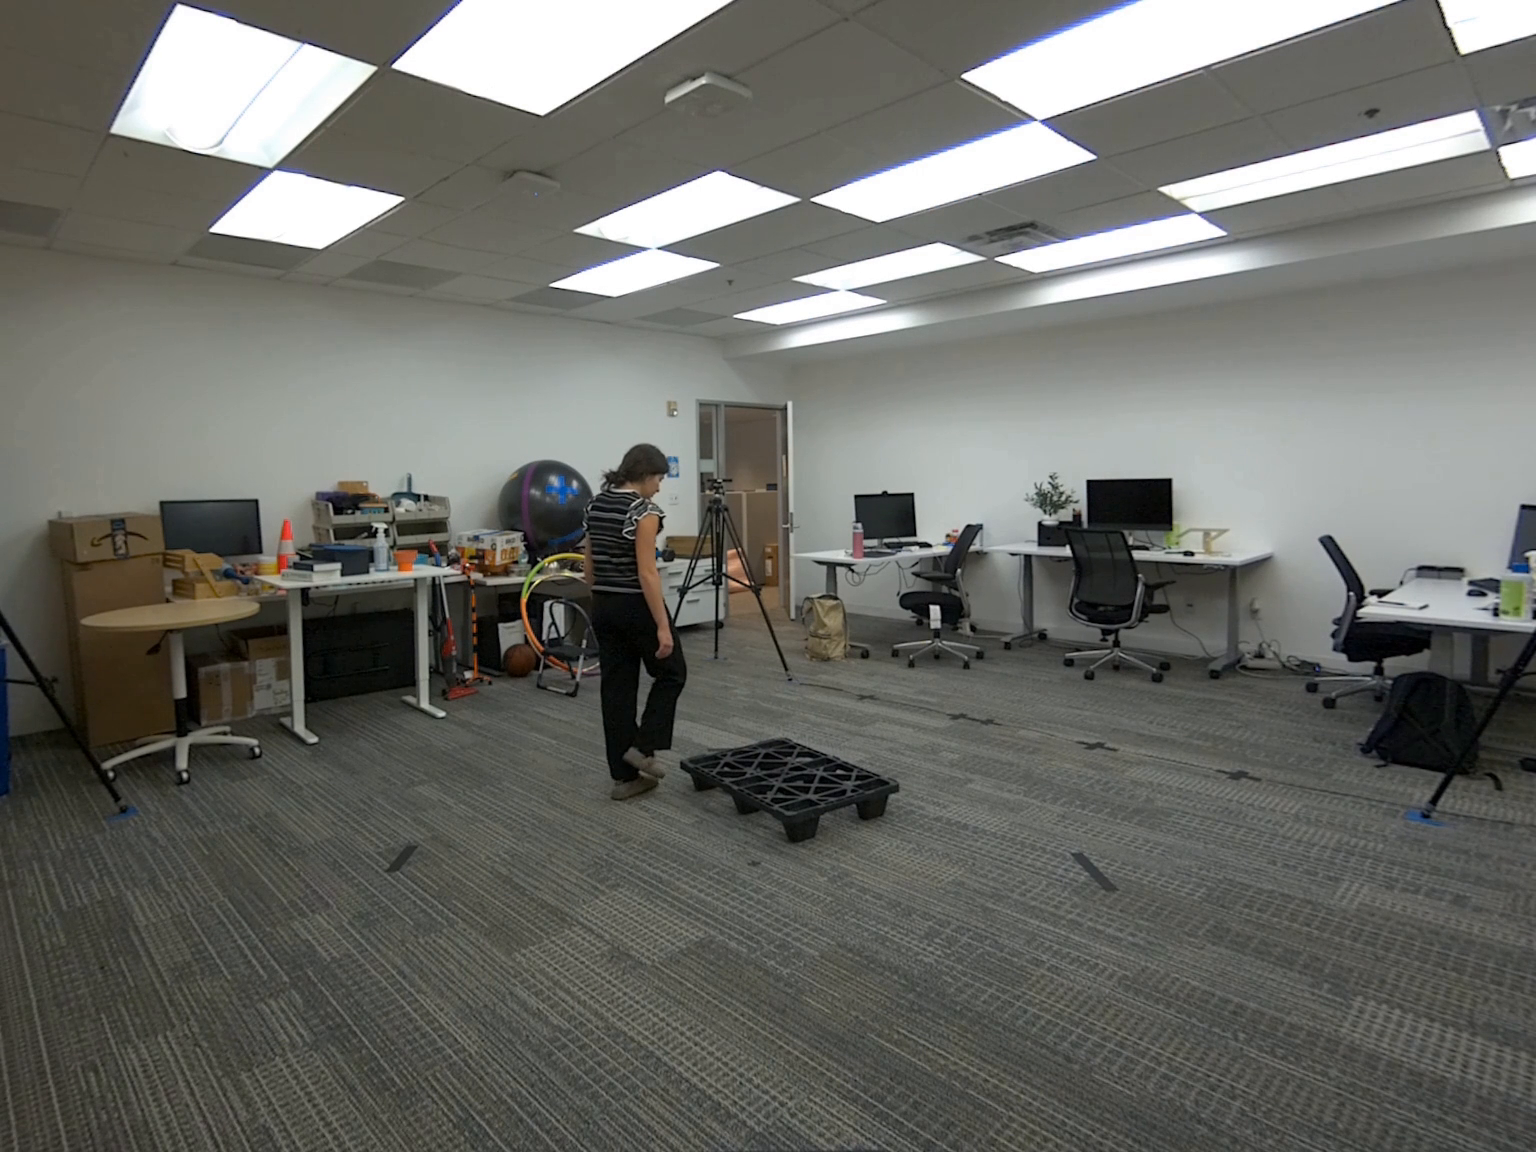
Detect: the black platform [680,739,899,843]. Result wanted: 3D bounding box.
[{"bbox_3d":[0.077,0.910,3.702,0.590,0.143,0.830,-4,7,-35],"label":"black platform"}]
